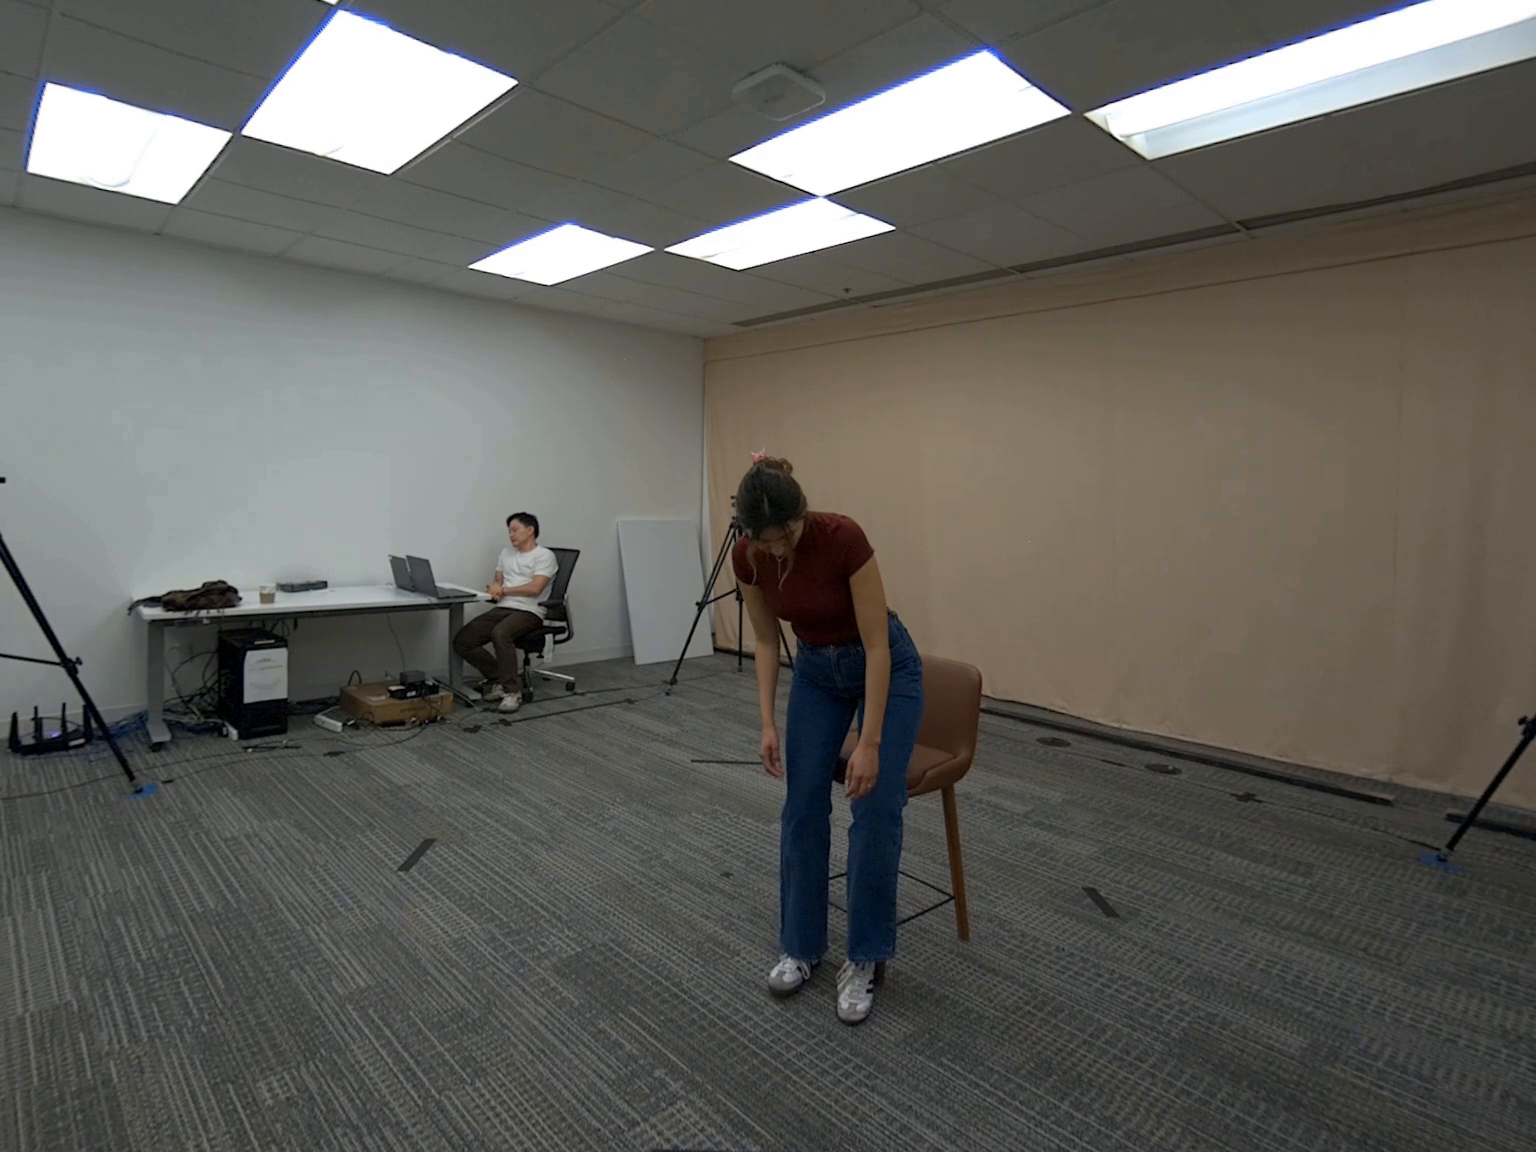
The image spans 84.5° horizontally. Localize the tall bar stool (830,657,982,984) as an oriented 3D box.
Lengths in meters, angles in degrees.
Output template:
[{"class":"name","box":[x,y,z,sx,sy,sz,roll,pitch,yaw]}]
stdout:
[{"class":"tall bar stool","box":[0.373,0.724,2.671,0.456,0.888,0.468,1,4,-40]}]
